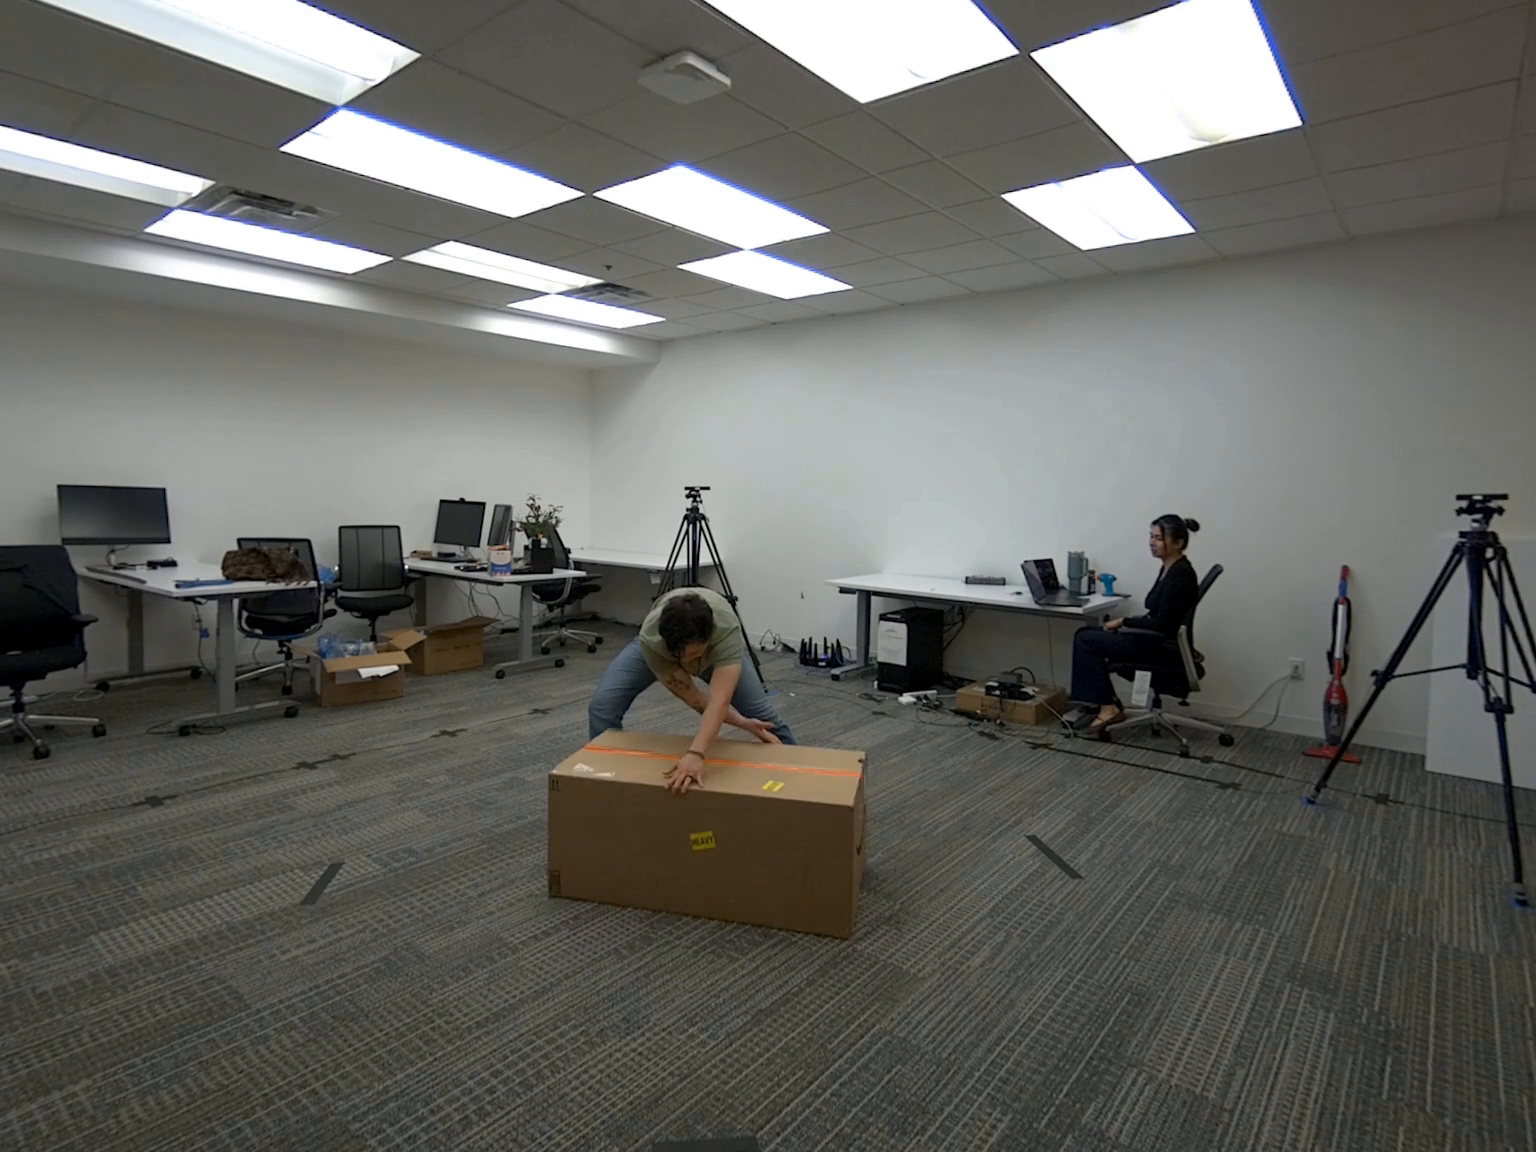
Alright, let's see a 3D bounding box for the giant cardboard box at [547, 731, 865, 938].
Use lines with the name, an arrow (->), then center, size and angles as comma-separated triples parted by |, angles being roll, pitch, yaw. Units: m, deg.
giant cardboard box -> -0.196, 0.860, 3.012 | 1.041, 0.424, 0.572 | 2, 5, 13
